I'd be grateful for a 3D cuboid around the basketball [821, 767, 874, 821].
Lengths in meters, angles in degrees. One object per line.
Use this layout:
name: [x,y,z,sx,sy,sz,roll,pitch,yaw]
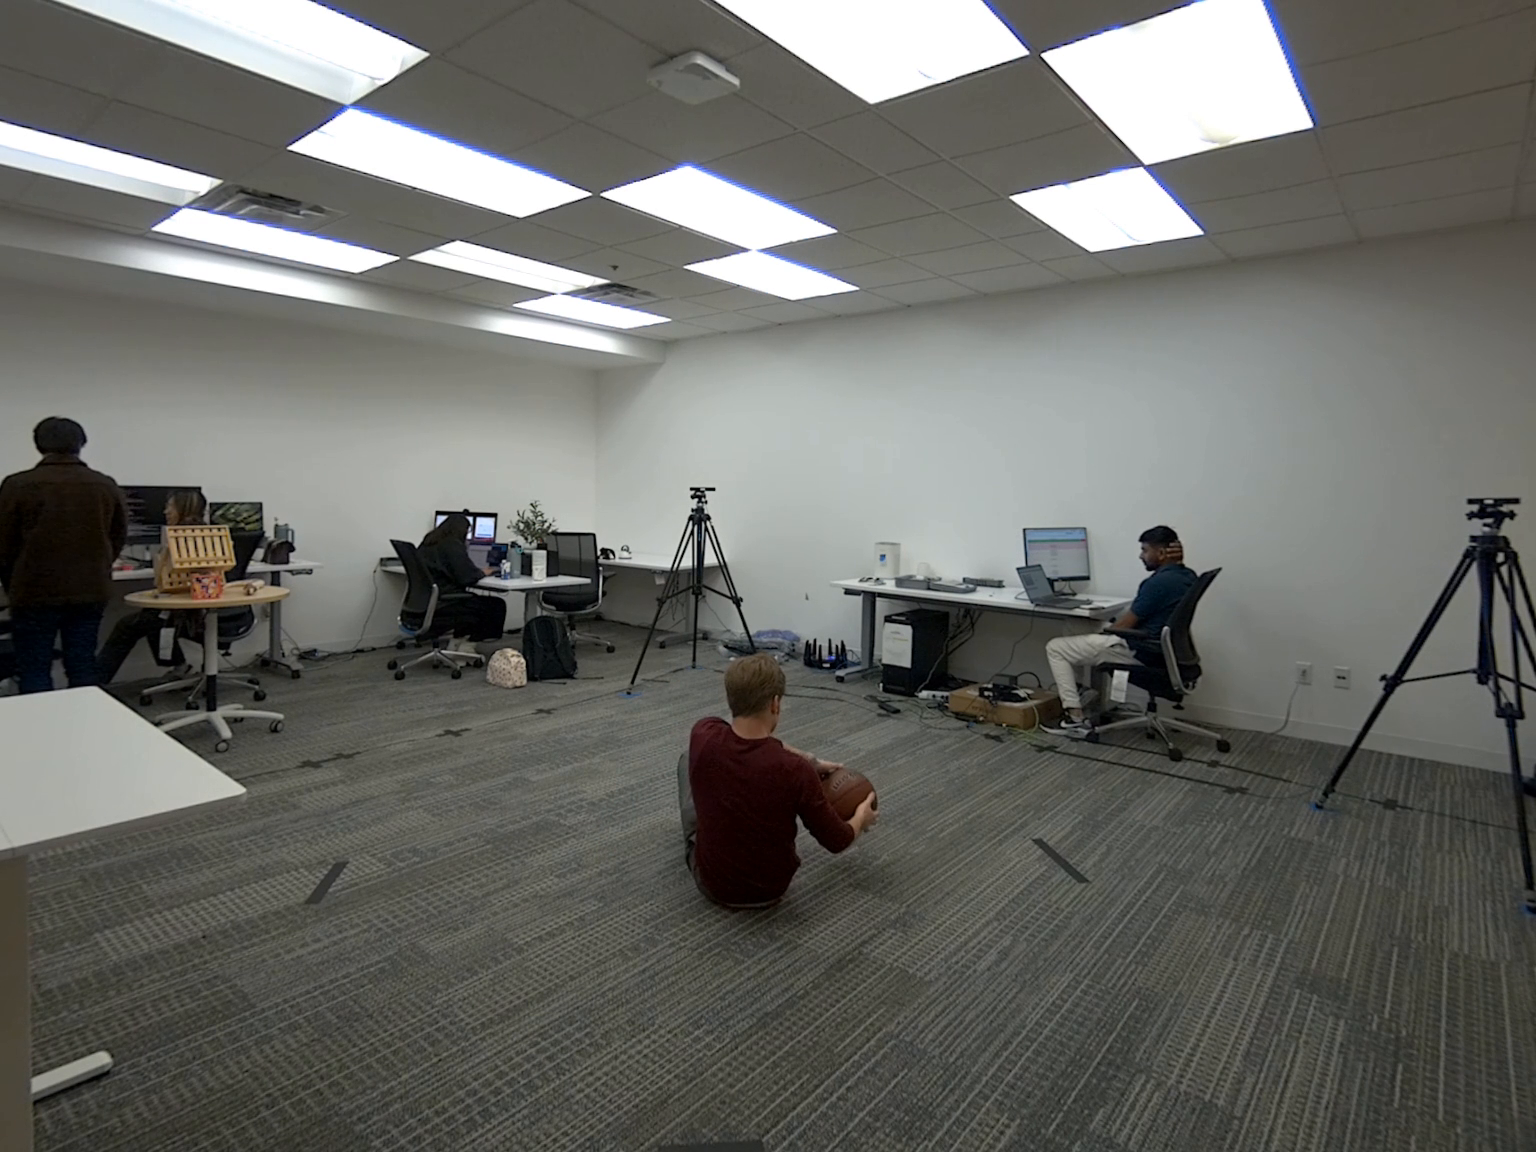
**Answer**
basketball: [0.276,0.829,3.180,0.235,0.235,0.237,1,4,-2]
